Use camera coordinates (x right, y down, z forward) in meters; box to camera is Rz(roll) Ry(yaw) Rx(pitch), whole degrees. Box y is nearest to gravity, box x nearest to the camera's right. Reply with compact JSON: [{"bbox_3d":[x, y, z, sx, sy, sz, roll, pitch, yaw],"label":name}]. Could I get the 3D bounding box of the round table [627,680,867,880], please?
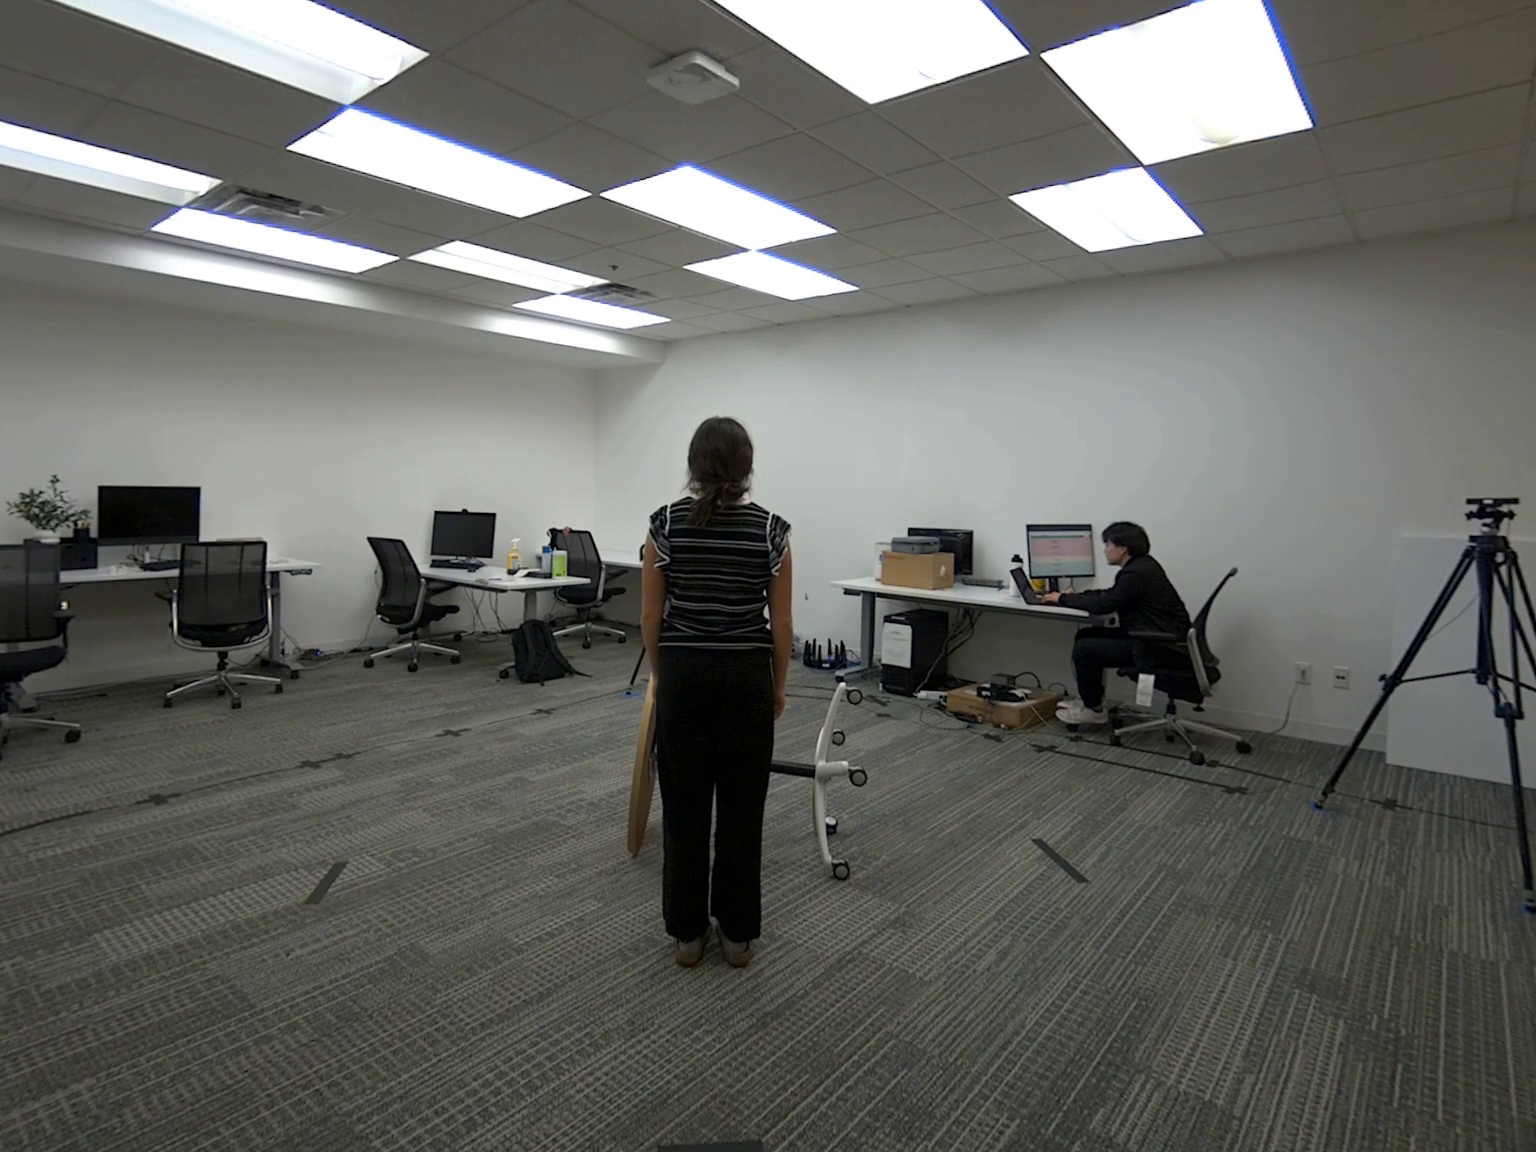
[{"bbox_3d":[-0.080,0.722,3.279,0.795,0.762,0.766,7,4,0],"label":"round table"}]
